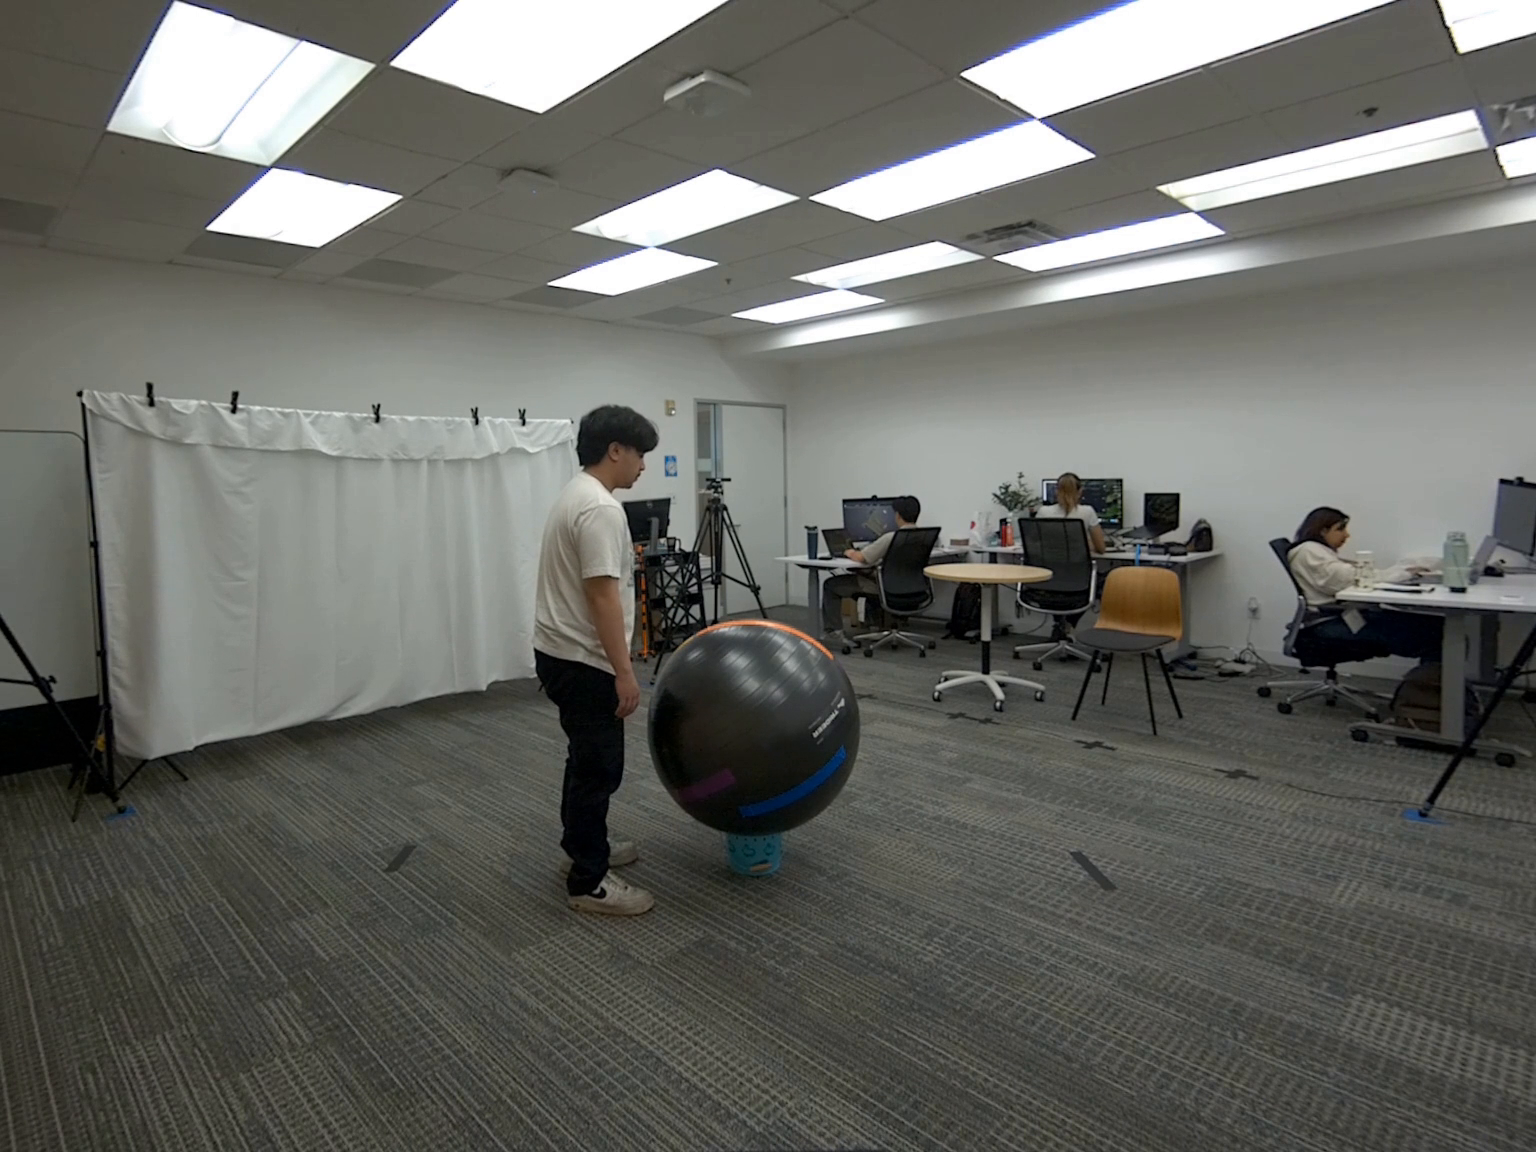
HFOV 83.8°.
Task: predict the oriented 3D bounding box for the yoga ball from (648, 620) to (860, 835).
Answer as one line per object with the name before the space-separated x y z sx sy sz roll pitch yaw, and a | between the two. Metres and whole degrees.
yoga ball | -0.053 0.537 3.058 0.757 0.755 0.762 -1 5 -2
